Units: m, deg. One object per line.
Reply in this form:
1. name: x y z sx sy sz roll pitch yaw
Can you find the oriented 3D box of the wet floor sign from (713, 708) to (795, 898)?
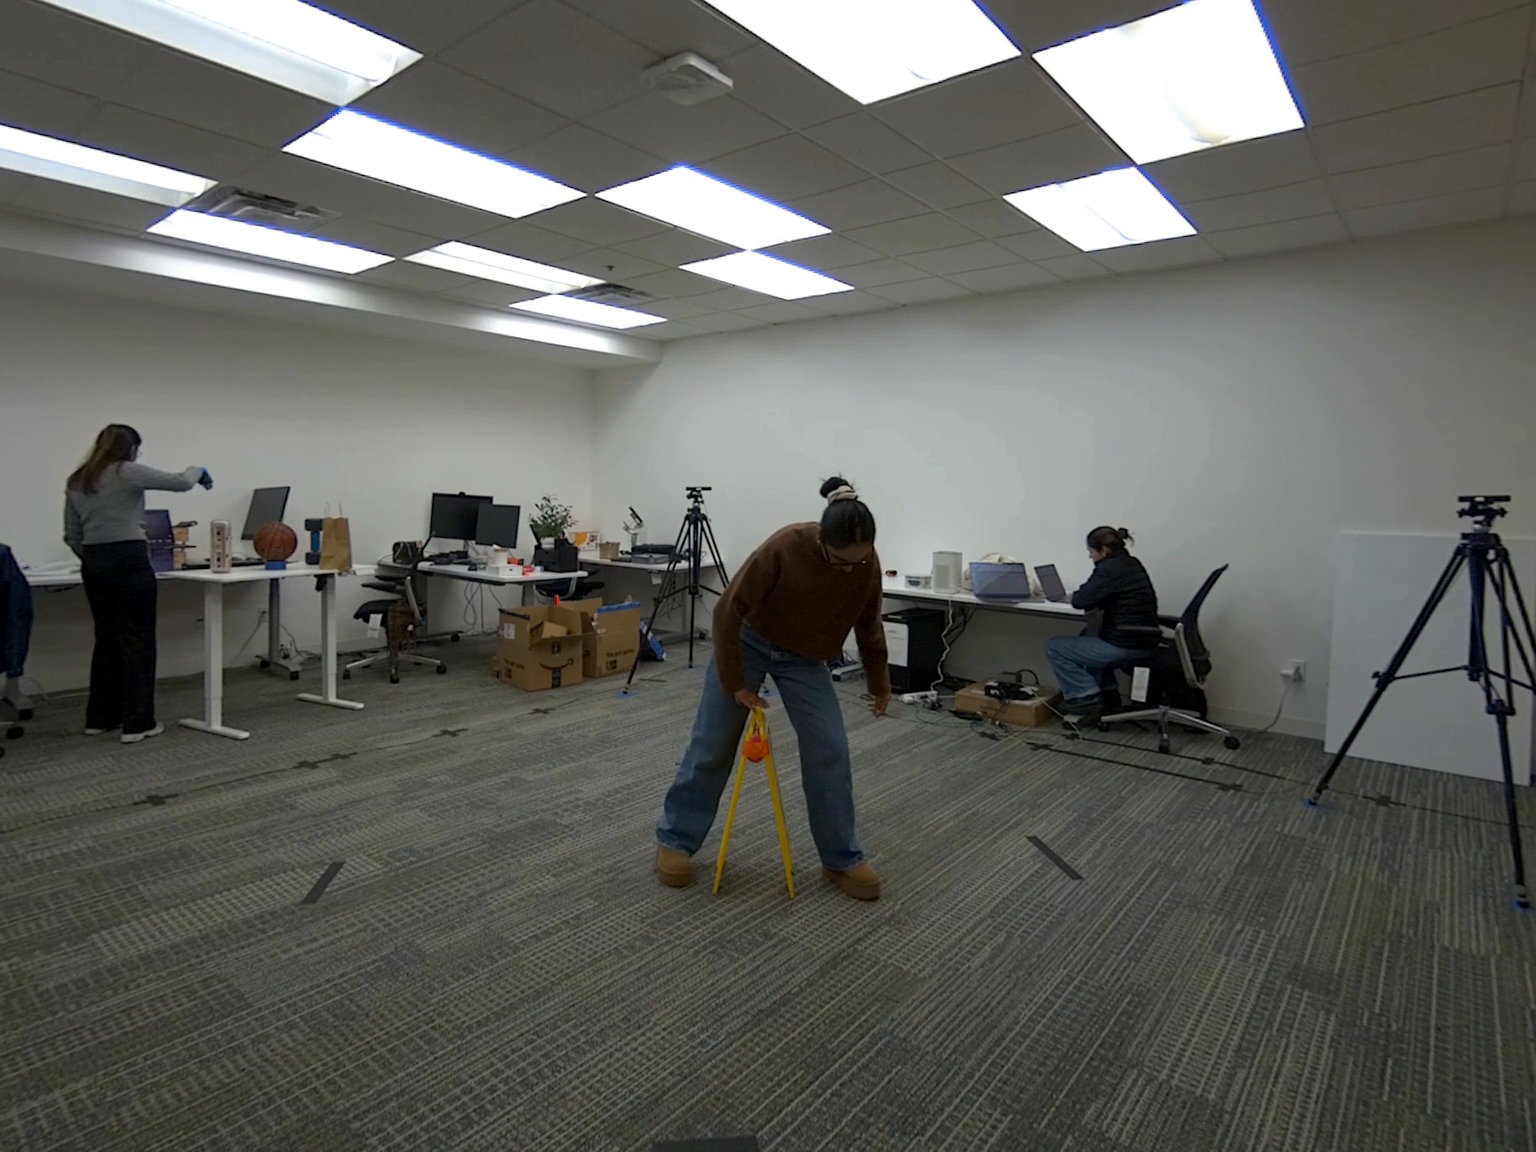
1. wet floor sign: -0.044 0.761 3.011 0.291 0.643 0.282 2 5 3
